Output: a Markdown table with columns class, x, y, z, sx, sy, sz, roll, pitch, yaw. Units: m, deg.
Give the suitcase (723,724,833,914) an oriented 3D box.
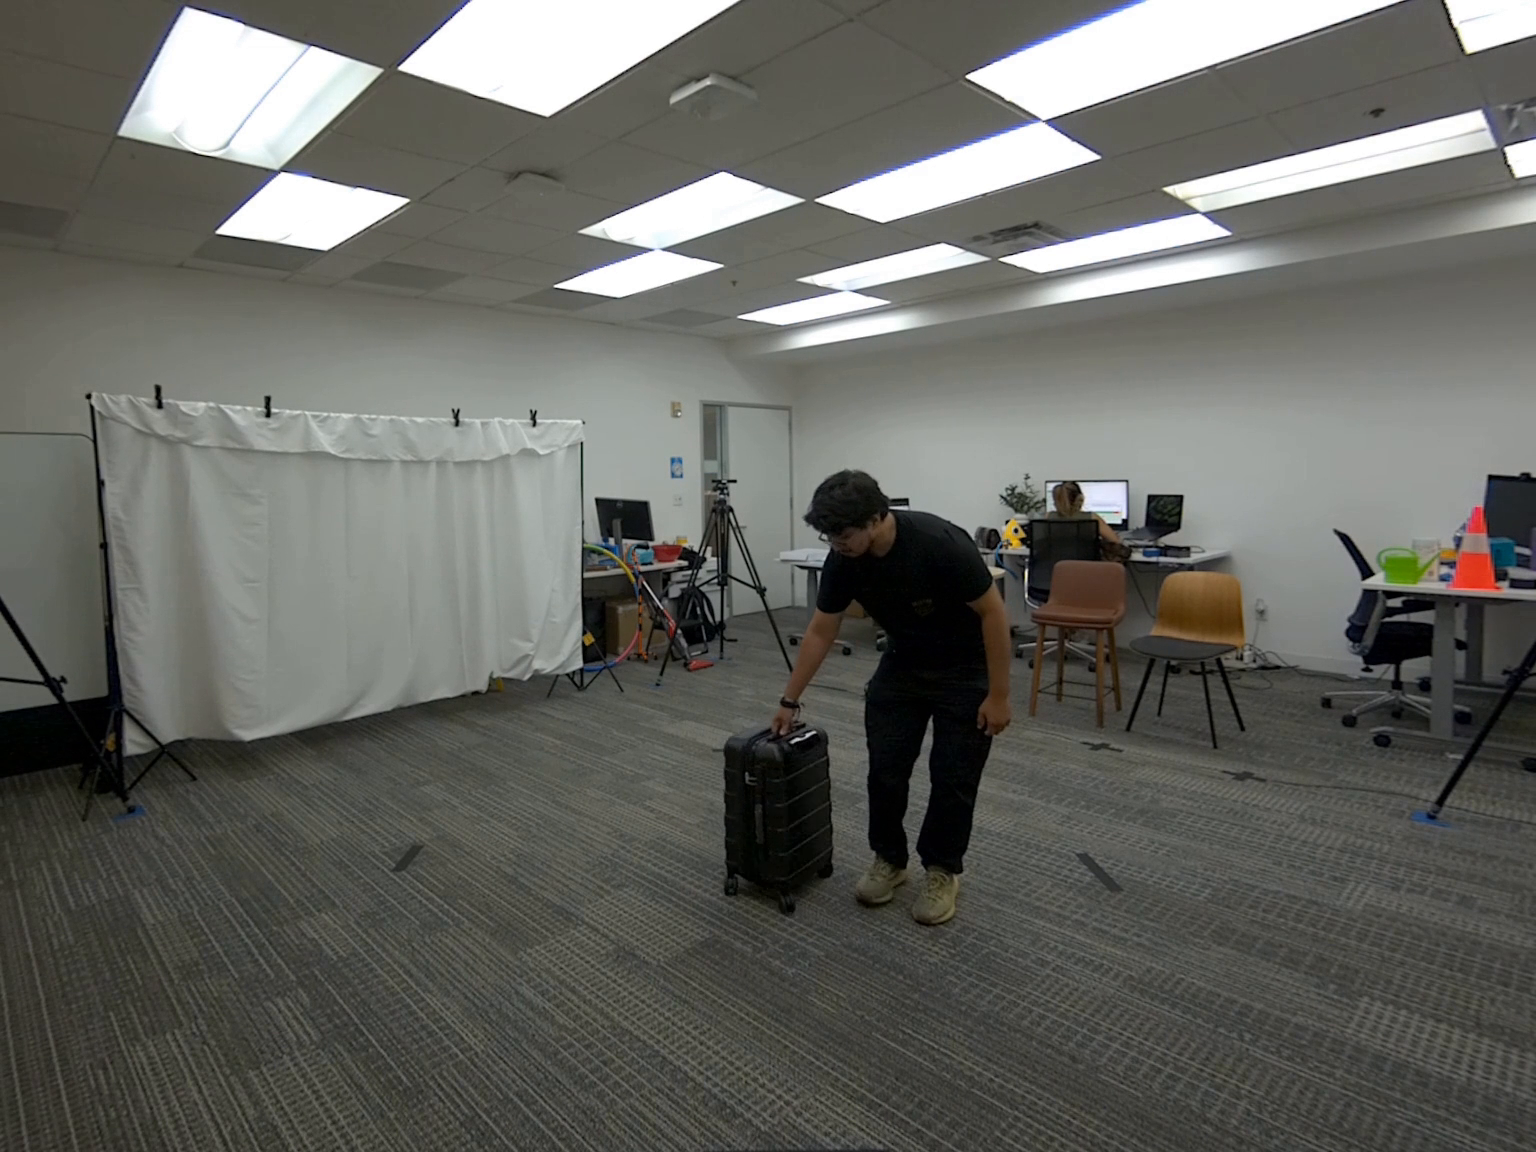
| class | x | y | z | sx | sy | sz | roll | pitch | yaw |
| --- | --- | --- | --- | --- | --- | --- | --- | --- | --- |
| suitcase | 0.043 | 0.793 | 2.950 | 0.255 | 0.548 | 0.366 | 1 | 3 | 35 |
